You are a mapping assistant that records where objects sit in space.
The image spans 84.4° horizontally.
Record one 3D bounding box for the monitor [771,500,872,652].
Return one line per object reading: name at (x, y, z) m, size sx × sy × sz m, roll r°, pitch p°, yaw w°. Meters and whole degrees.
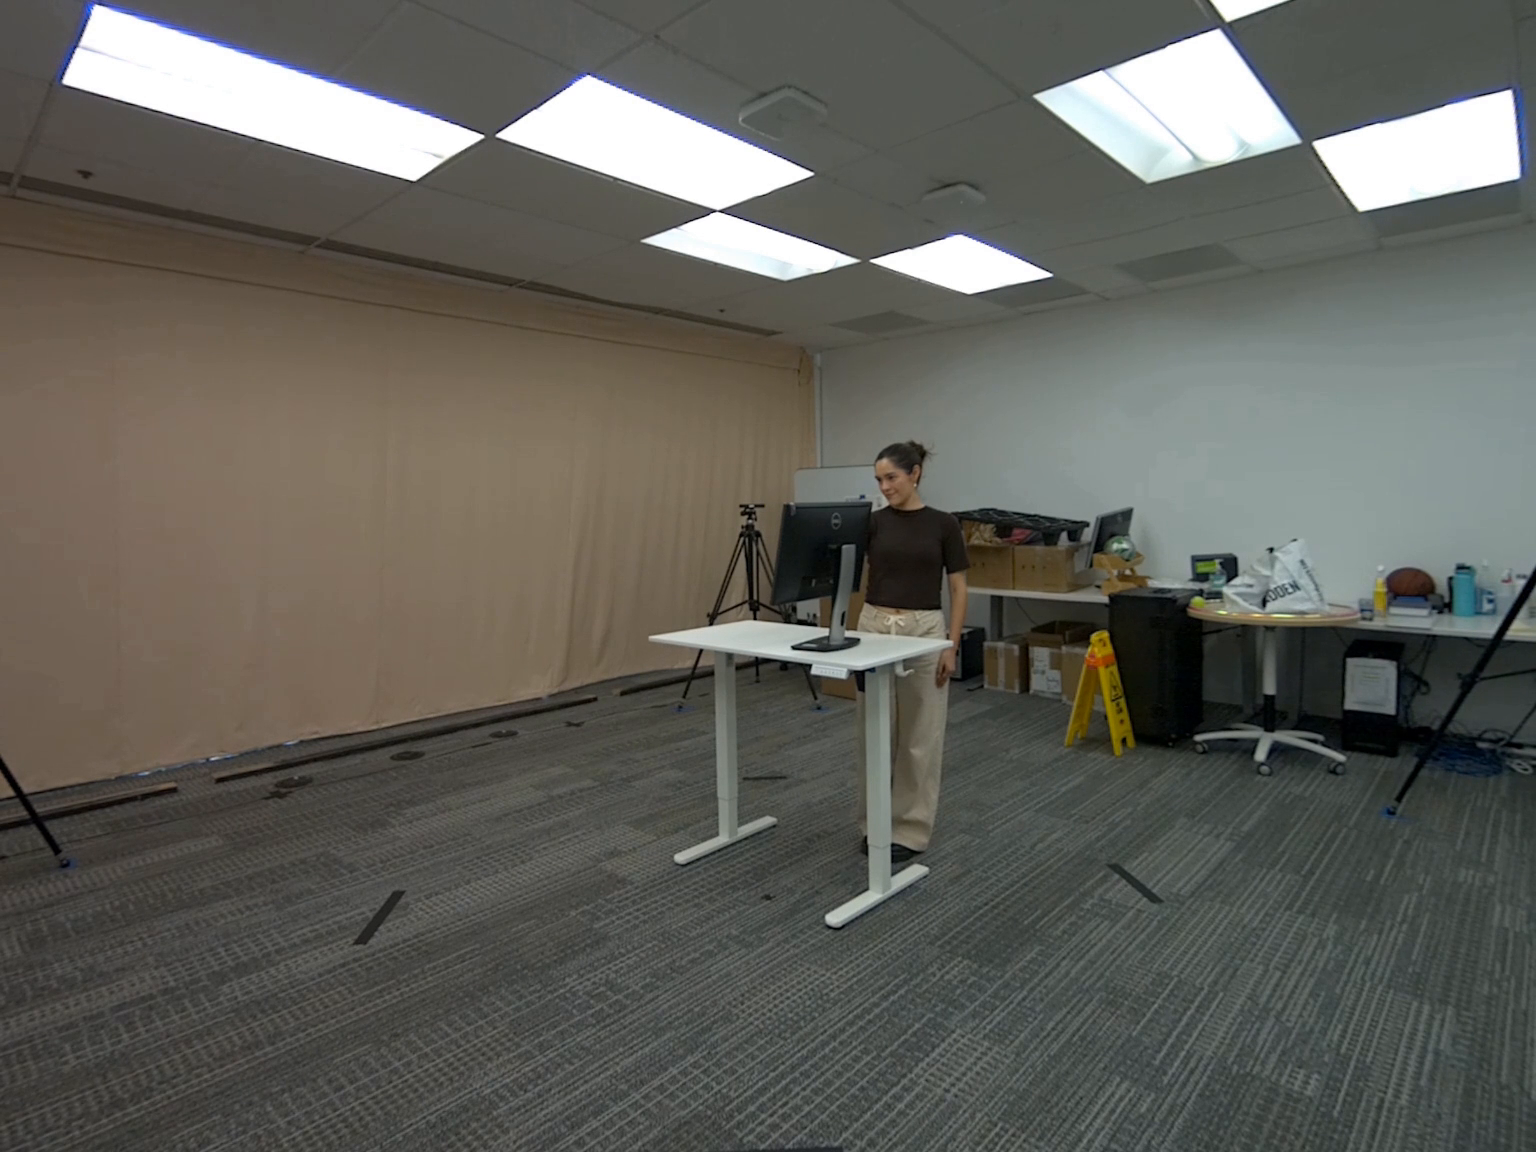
monitor at (0.224, 0.000, 2.991) m, size 0.193 × 0.521 × 0.523 m, roll 0°, pitch 4°, yaw 40°
